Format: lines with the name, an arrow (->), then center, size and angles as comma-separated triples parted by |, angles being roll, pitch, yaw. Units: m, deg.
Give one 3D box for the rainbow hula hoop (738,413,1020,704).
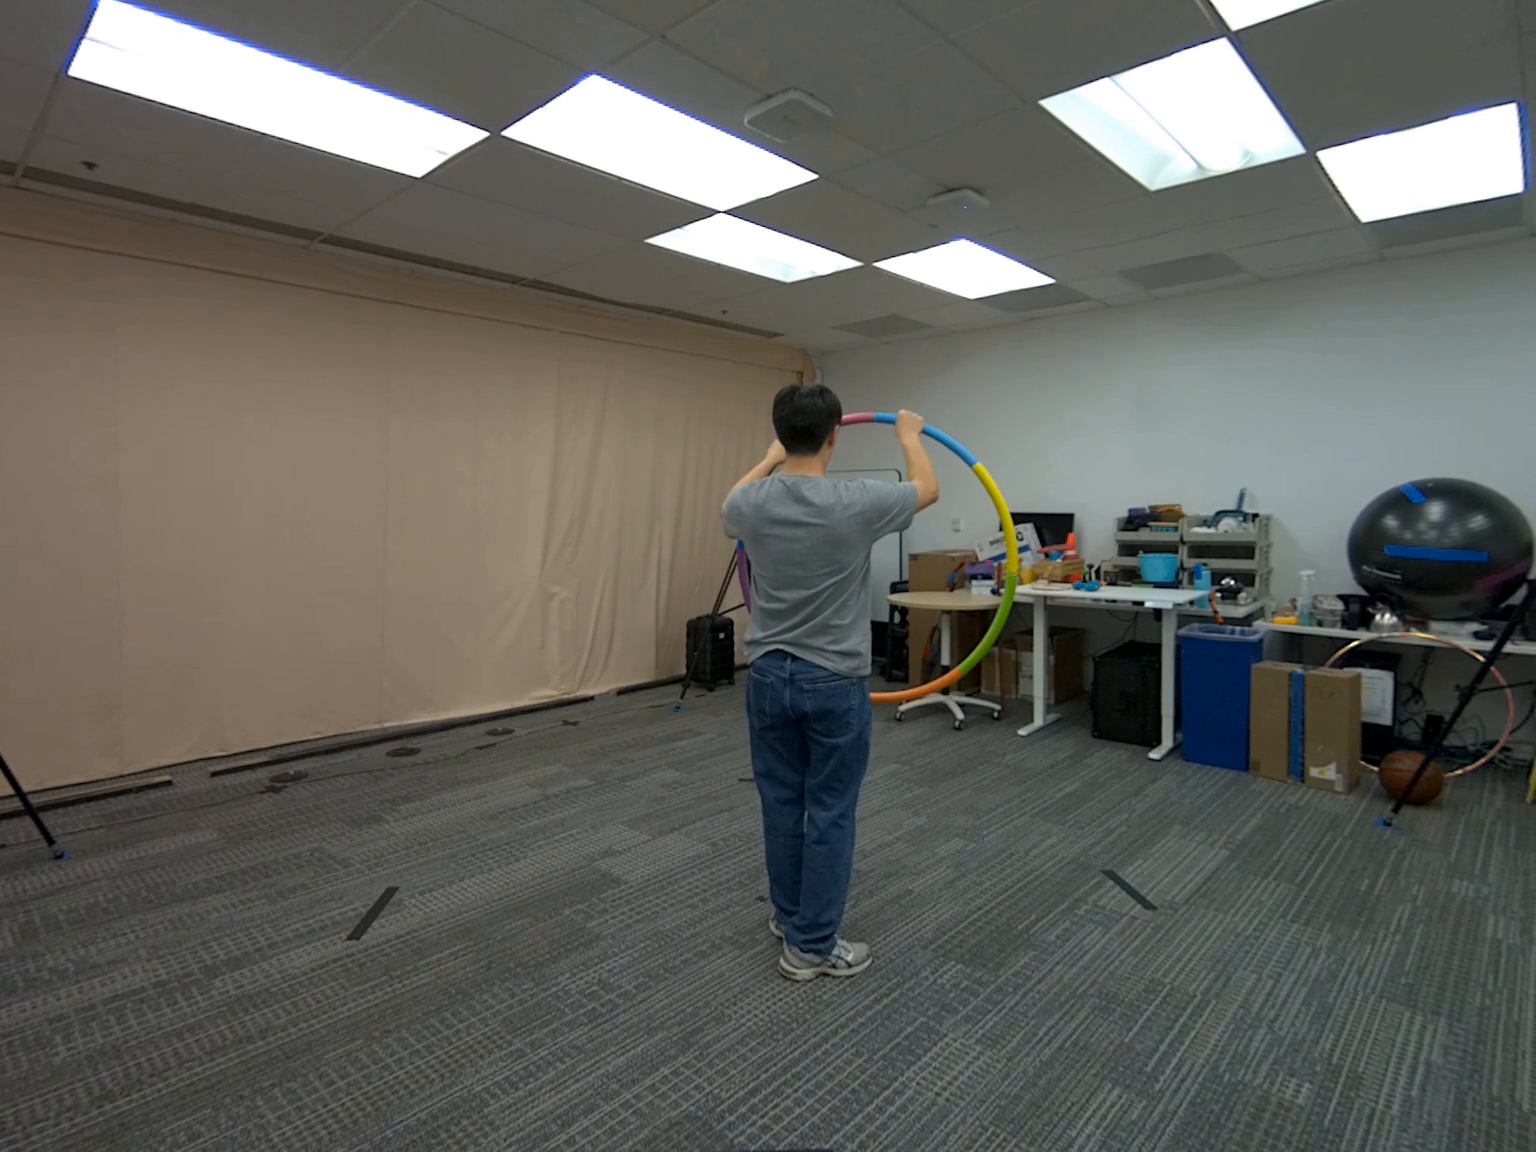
rainbow hula hoop -> 0.338, -0.063, 2.879 | 1.003, 0.975, 0.035 | 2, 6, 25
